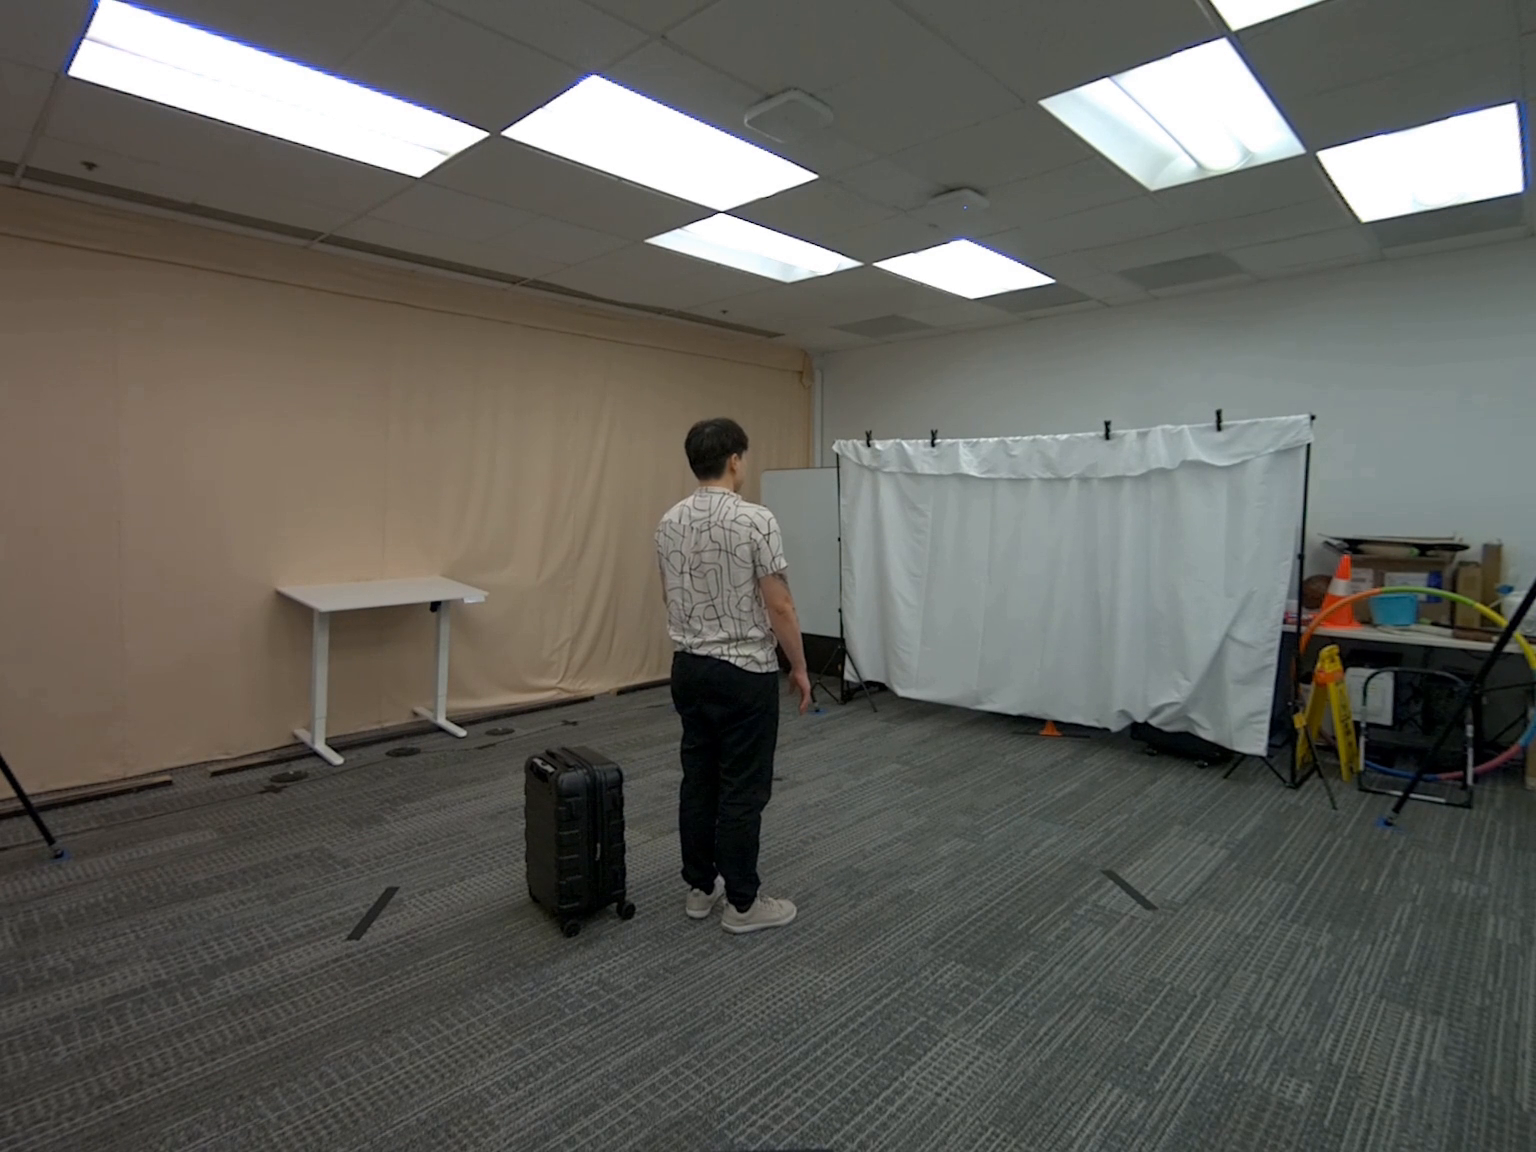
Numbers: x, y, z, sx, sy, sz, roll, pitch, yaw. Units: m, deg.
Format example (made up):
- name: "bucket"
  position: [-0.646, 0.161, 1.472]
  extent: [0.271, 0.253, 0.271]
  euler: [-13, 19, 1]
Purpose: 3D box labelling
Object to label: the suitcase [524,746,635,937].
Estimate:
- name: "suitcase"
  position: [-0.668, 0.881, 2.902]
  extent: [0.241, 0.548, 0.387]
  euler: [-3, 4, -34]
